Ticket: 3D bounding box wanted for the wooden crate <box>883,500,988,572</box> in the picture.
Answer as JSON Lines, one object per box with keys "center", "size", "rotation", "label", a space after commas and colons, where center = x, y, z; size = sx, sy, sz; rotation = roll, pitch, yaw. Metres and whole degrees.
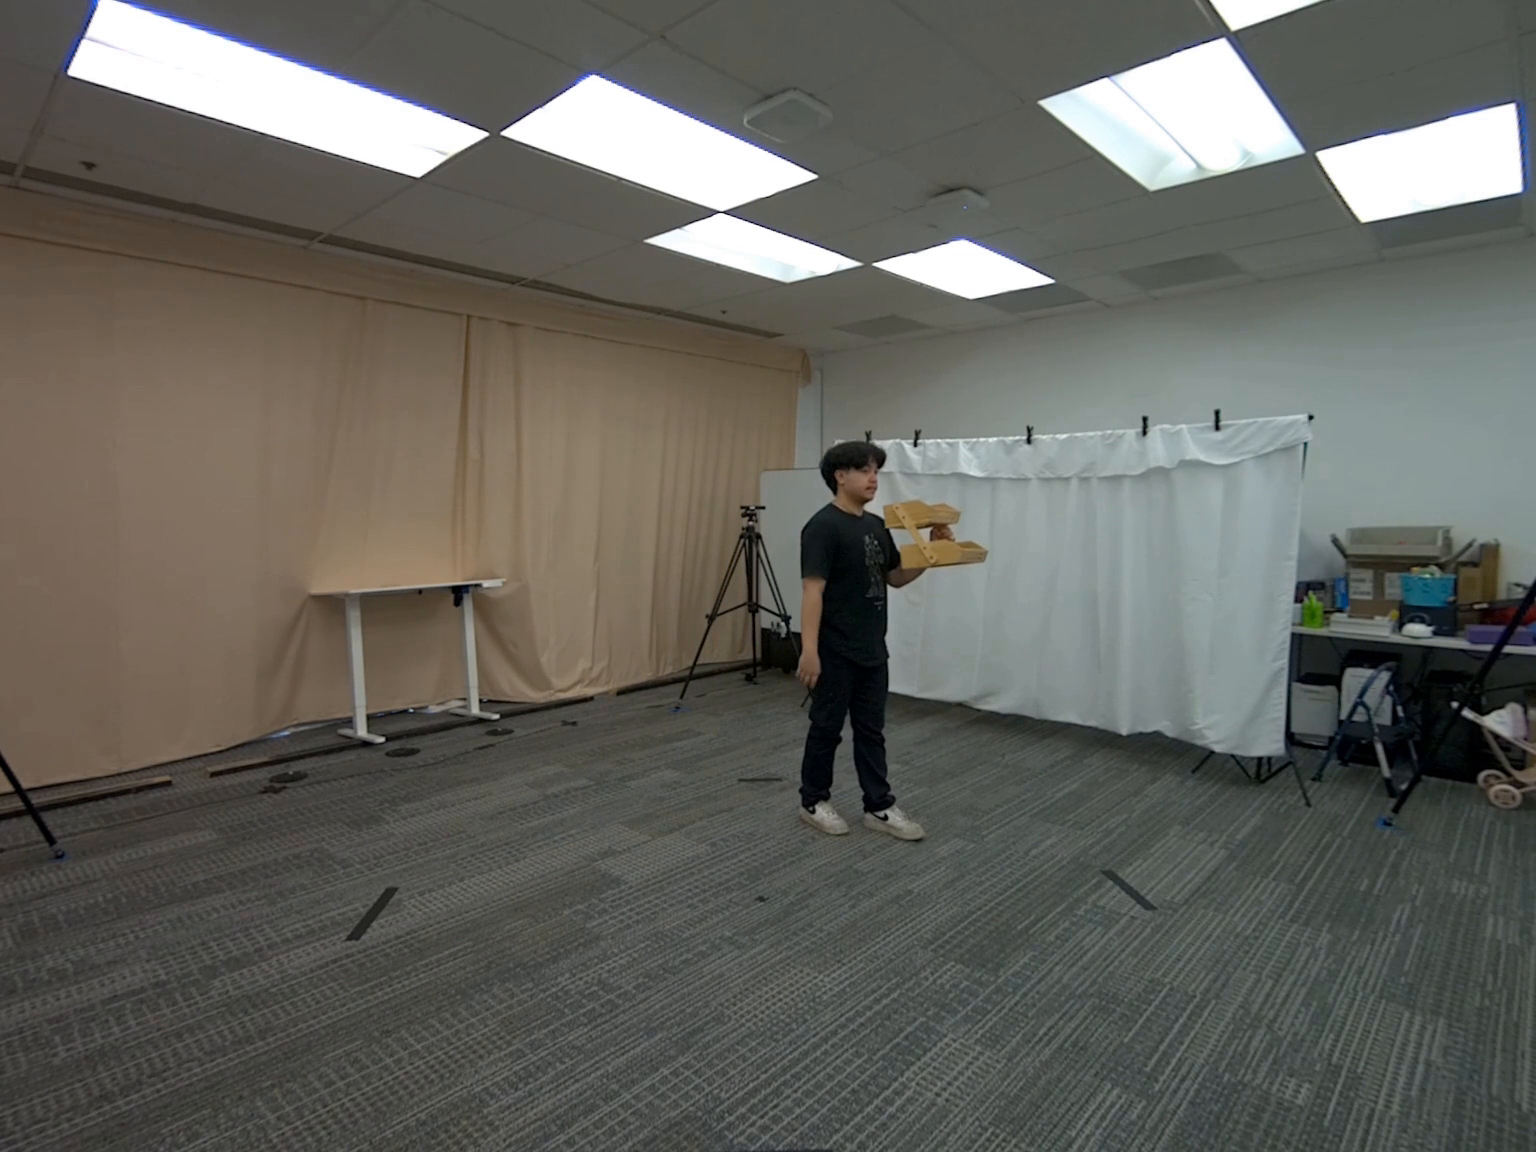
{"center": [0.683, -0.172, 3.372], "size": [0.310, 0.274, 0.315], "rotation": [-9, -5, 32], "label": "wooden crate"}
